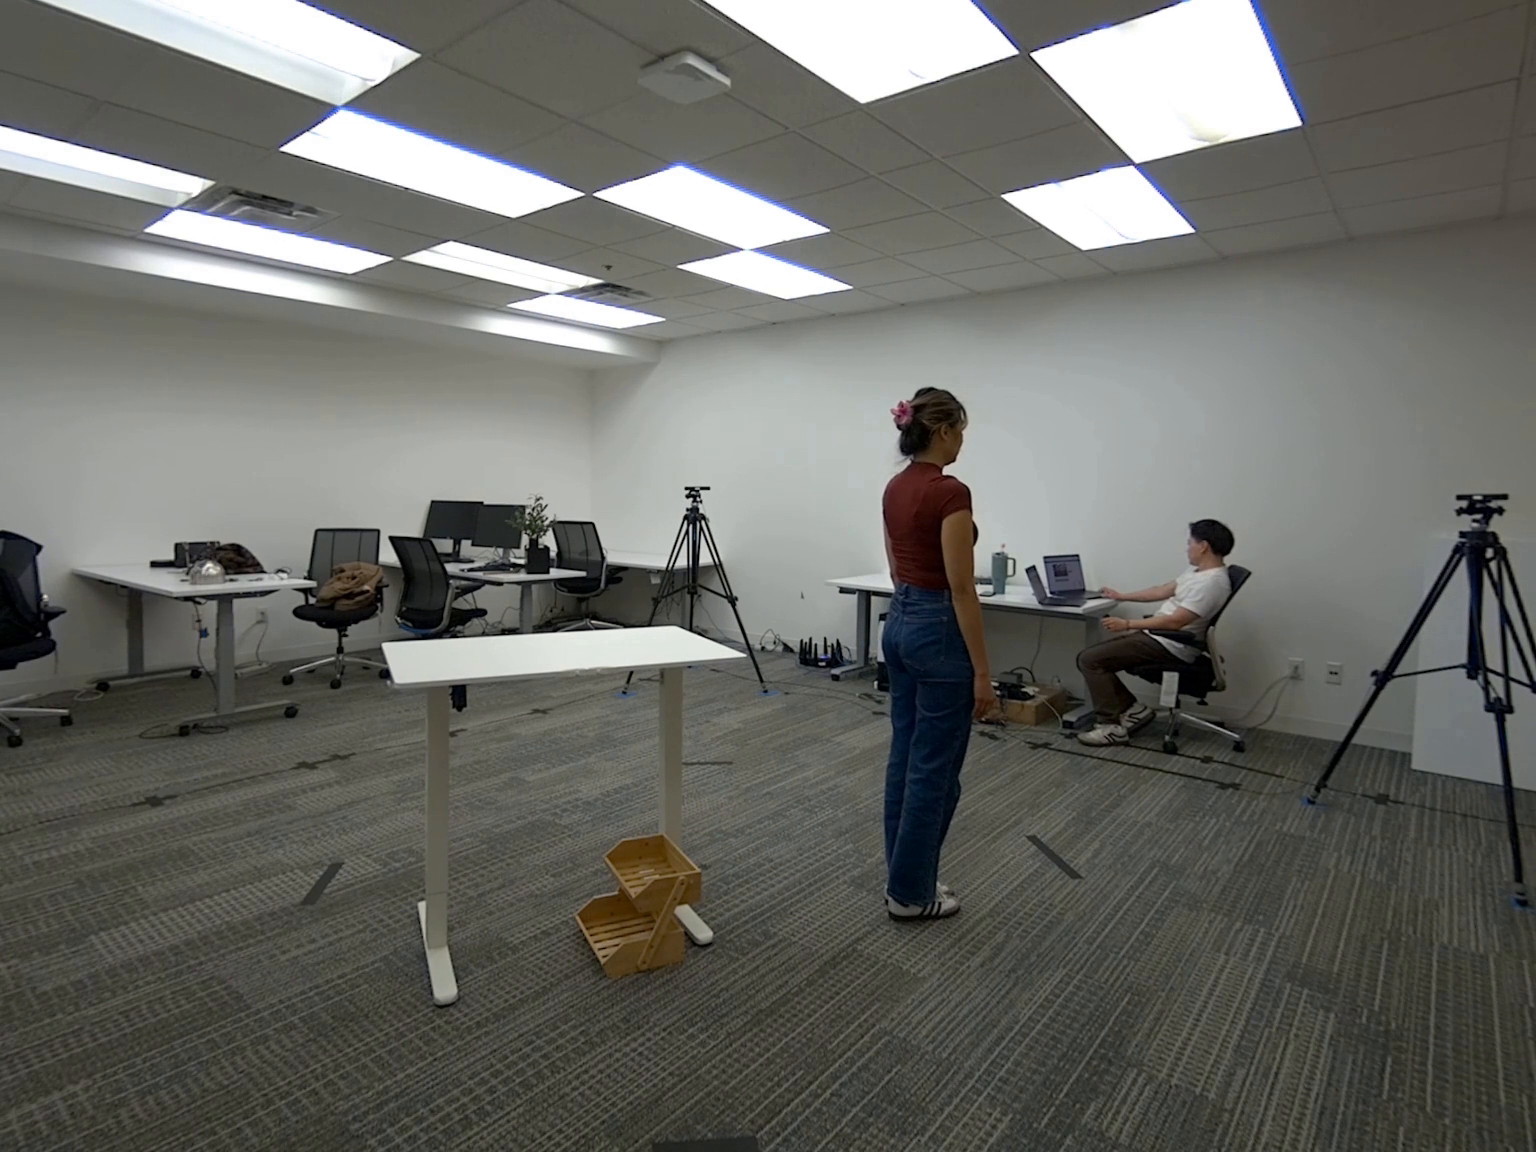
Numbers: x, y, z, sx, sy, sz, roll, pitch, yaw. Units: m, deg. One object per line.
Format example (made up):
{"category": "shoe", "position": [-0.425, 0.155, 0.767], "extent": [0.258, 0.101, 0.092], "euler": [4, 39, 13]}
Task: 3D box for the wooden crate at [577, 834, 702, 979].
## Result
{"category": "wooden crate", "position": [-0.413, 0.982, 2.580], "extent": [0.295, 0.272, 0.334], "euler": [-1, 5, -27]}
